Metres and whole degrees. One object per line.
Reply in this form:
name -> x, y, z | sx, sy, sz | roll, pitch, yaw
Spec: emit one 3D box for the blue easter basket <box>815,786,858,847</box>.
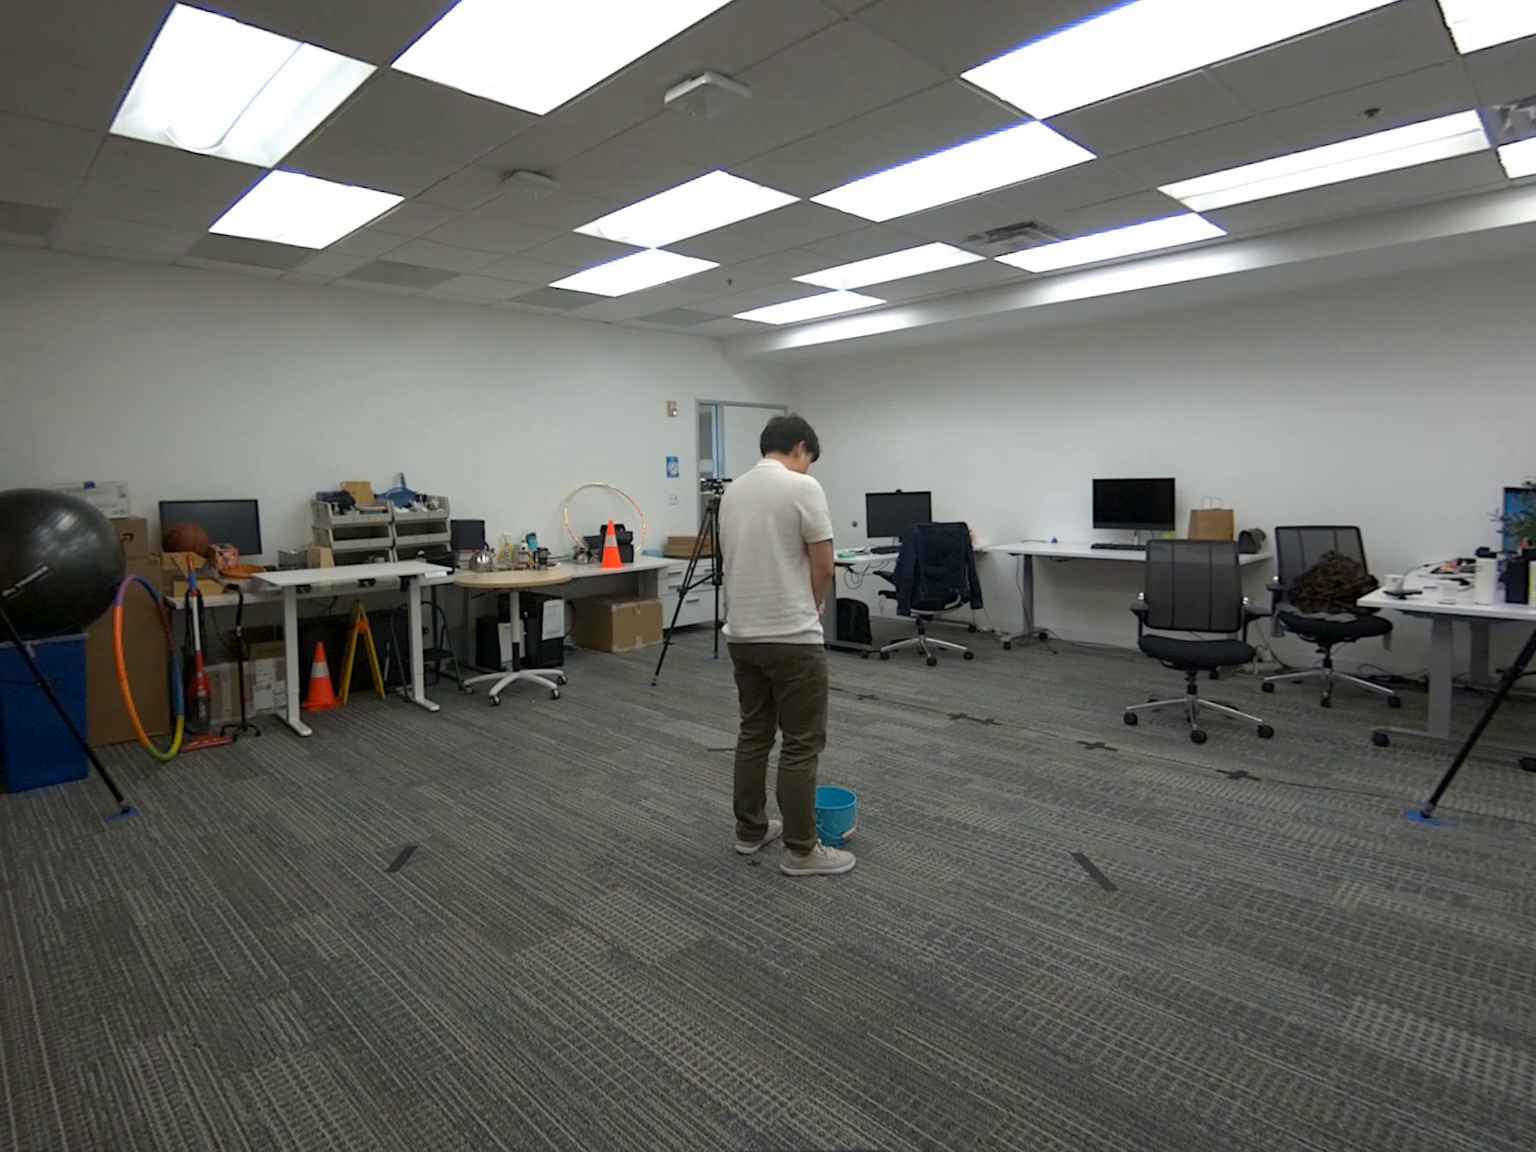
blue easter basket -> 0.229, 0.934, 3.331 | 0.243, 0.155, 0.245 | -1, 6, -2
